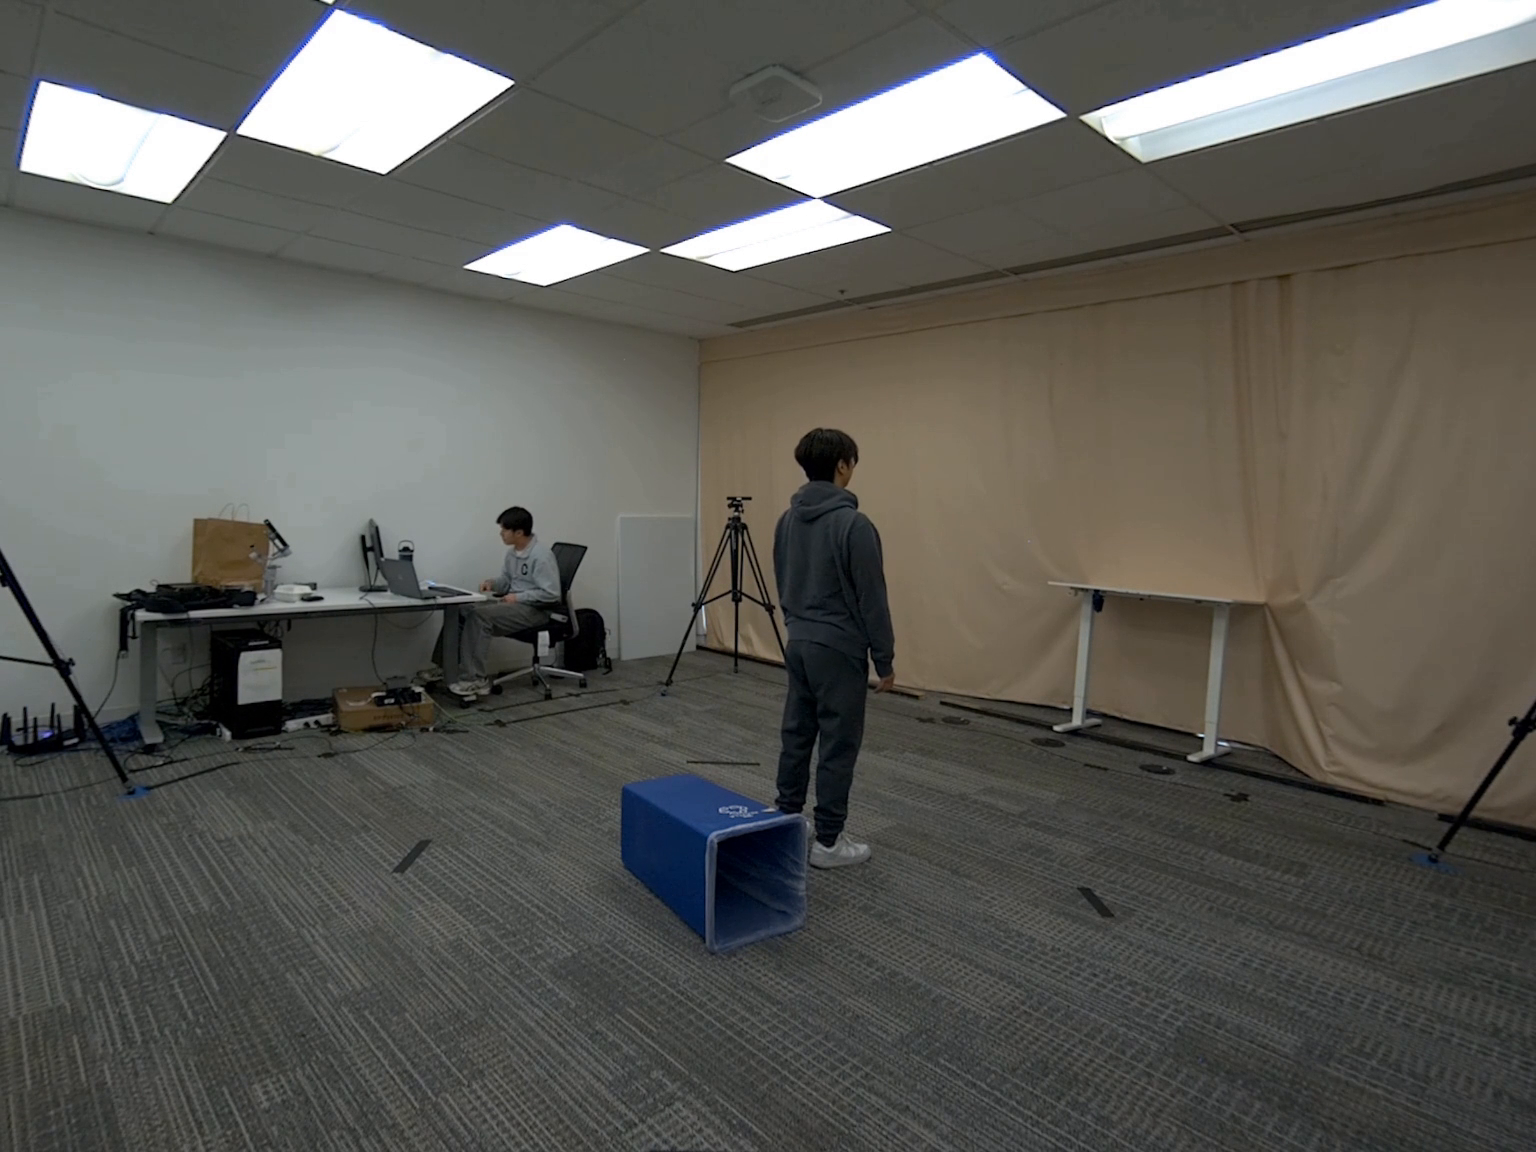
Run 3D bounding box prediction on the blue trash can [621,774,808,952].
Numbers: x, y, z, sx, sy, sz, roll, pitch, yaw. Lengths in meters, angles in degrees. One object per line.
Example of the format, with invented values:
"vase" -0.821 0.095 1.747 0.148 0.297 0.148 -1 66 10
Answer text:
"blue trash can" -0.237 0.952 2.936 0.366 0.378 0.730 -1 2 -34
